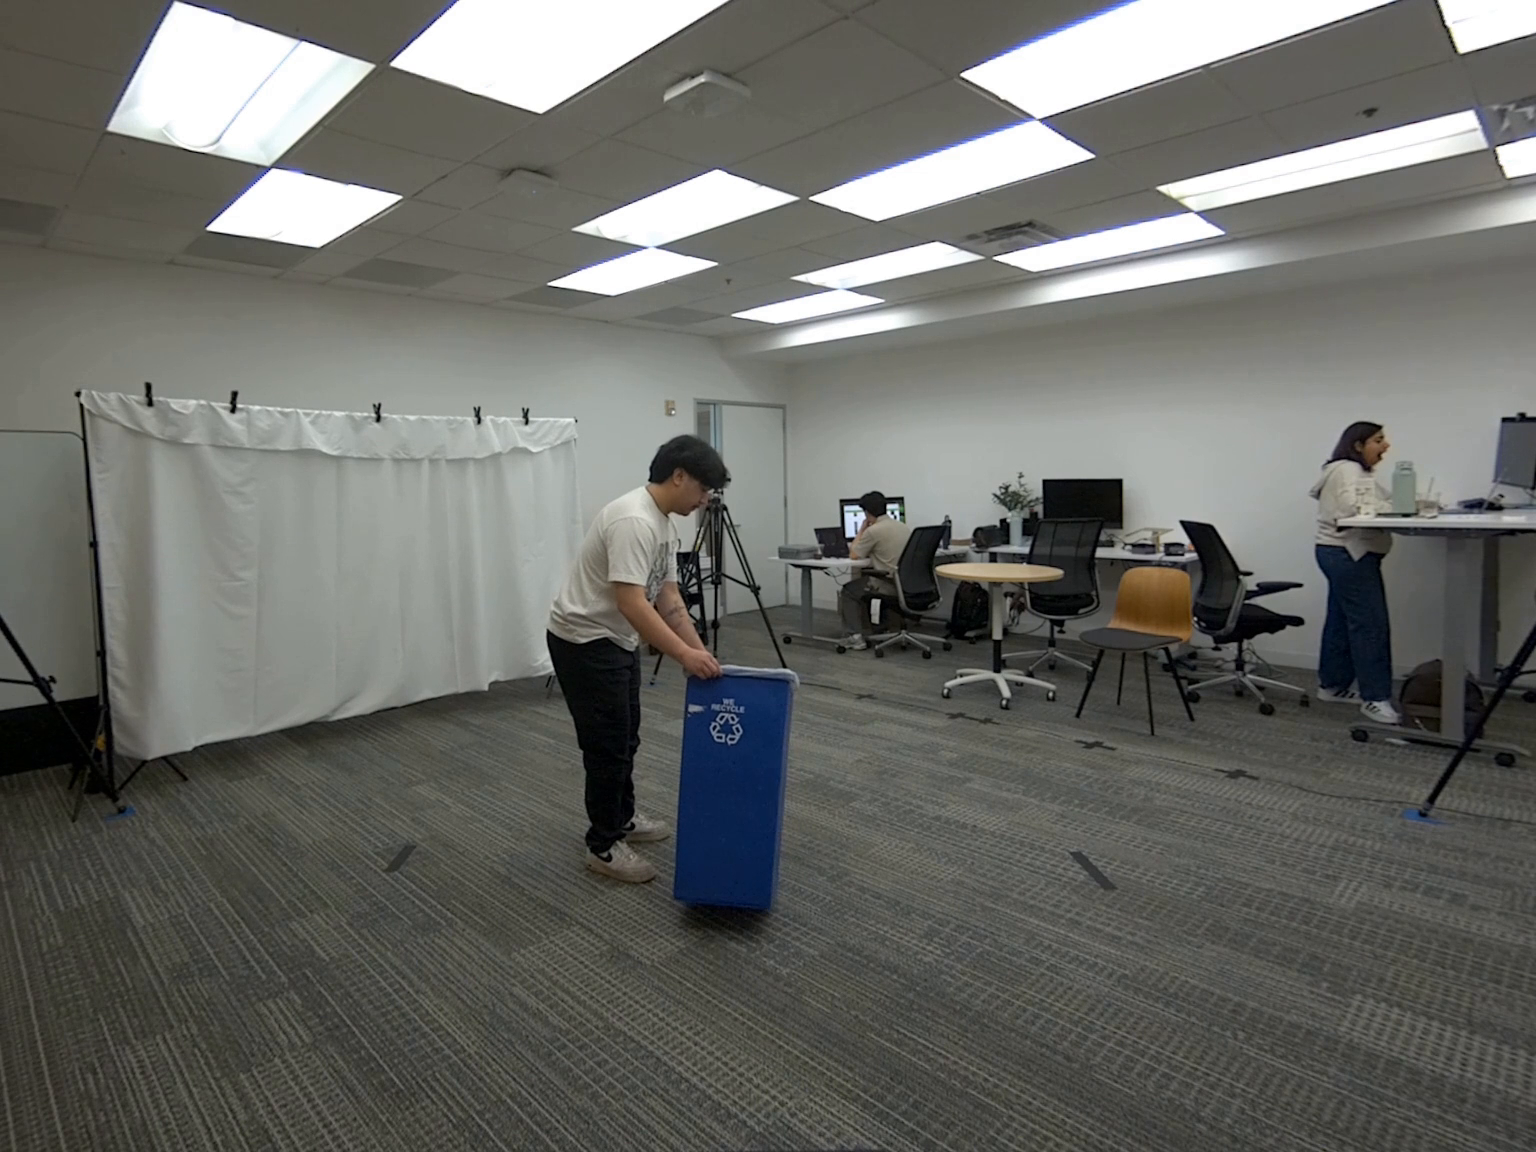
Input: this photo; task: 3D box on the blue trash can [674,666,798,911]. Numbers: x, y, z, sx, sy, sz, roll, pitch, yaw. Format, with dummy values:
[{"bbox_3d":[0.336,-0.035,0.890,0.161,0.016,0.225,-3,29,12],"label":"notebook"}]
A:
[{"bbox_3d":[-0.102,0.692,2.832,0.376,0.722,0.371,3,-14,4],"label":"blue trash can"}]
